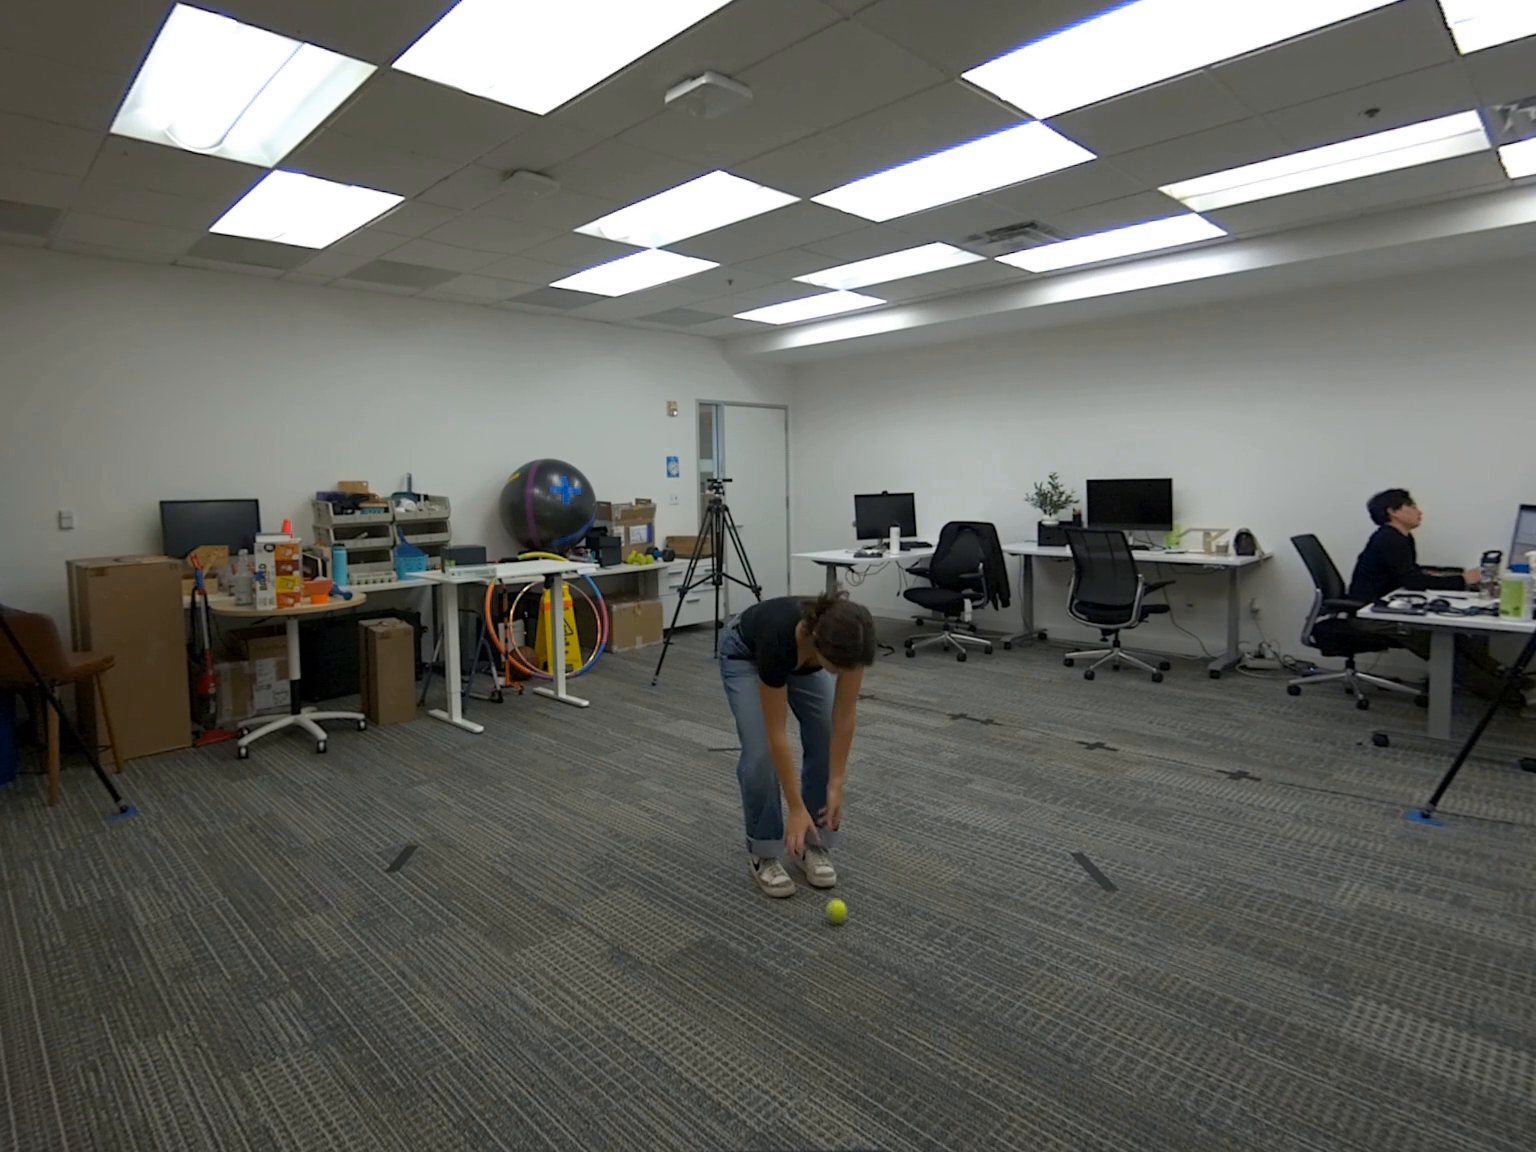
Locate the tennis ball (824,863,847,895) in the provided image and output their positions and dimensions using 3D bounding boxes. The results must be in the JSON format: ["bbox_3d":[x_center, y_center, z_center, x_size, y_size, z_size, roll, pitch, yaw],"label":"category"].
[{"bbox_3d":[0.206,0.947,2.681,0.066,0.066,0.067,-1,5,-2],"label":"tennis ball"}]
